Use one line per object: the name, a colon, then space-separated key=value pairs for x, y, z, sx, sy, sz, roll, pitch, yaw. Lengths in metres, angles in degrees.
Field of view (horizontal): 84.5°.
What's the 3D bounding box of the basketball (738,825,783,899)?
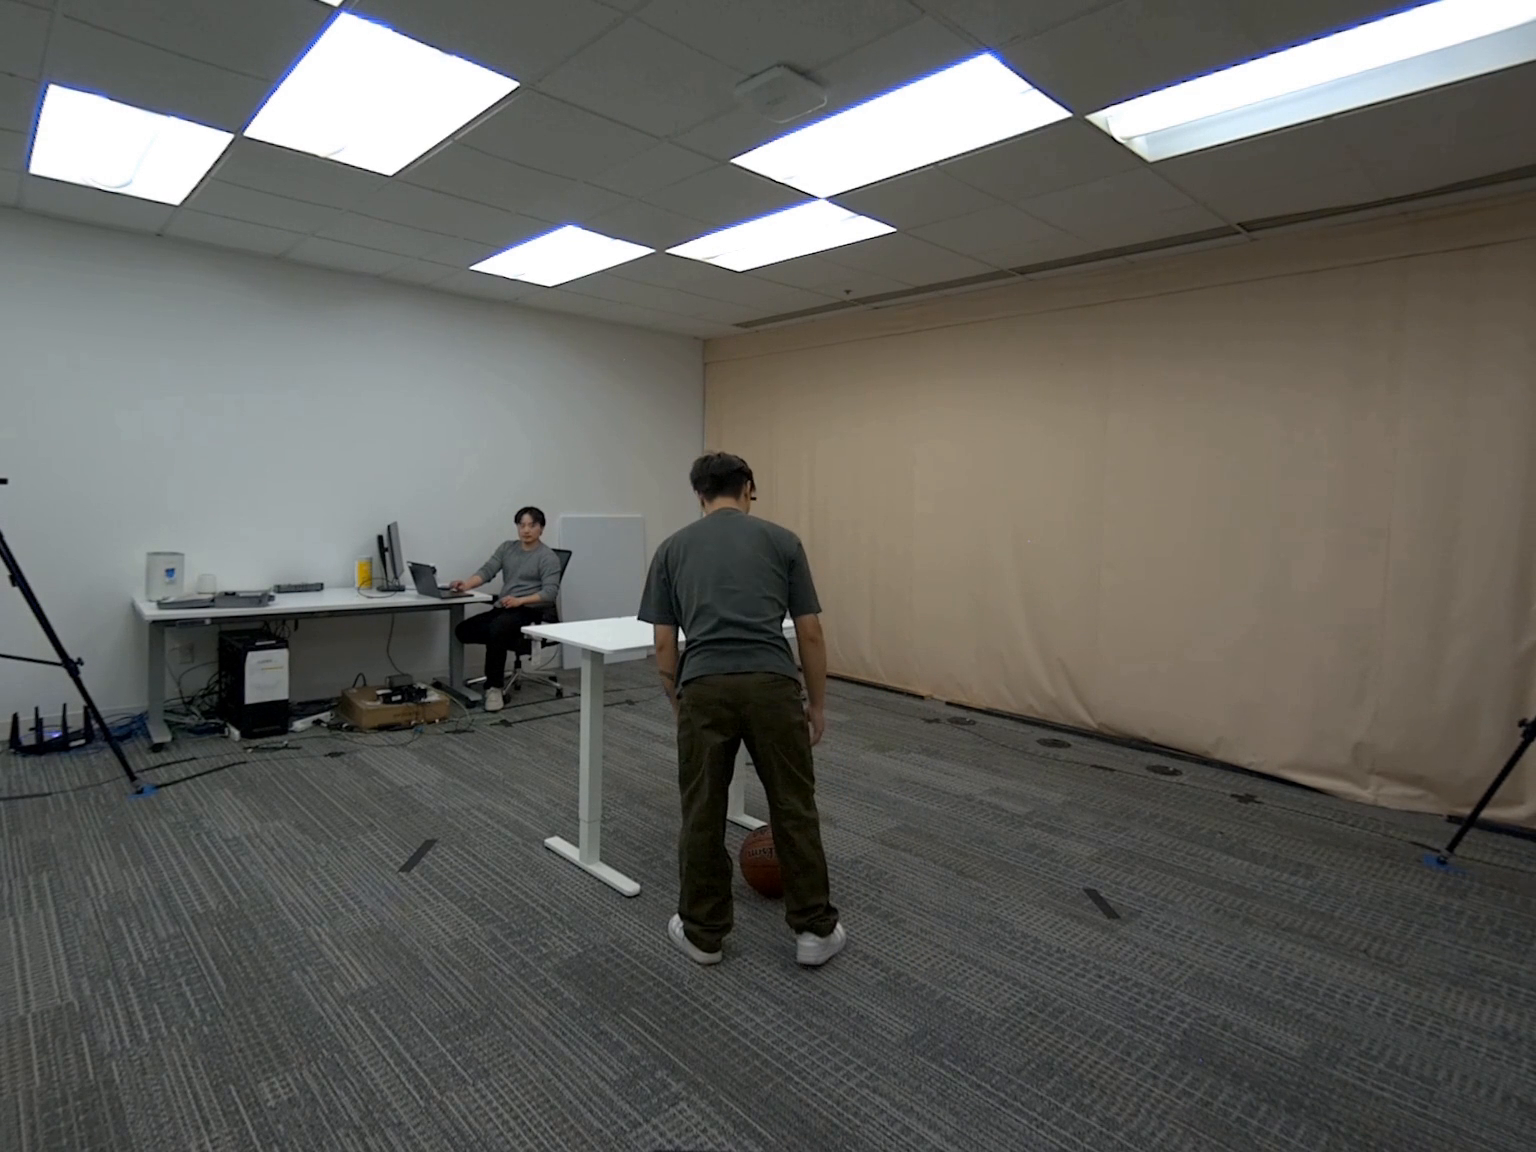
basketball: x=0.016 y=0.999 z=2.975 sx=0.236 sy=0.235 sz=0.237 roll=1 pitch=4 yaw=-1
